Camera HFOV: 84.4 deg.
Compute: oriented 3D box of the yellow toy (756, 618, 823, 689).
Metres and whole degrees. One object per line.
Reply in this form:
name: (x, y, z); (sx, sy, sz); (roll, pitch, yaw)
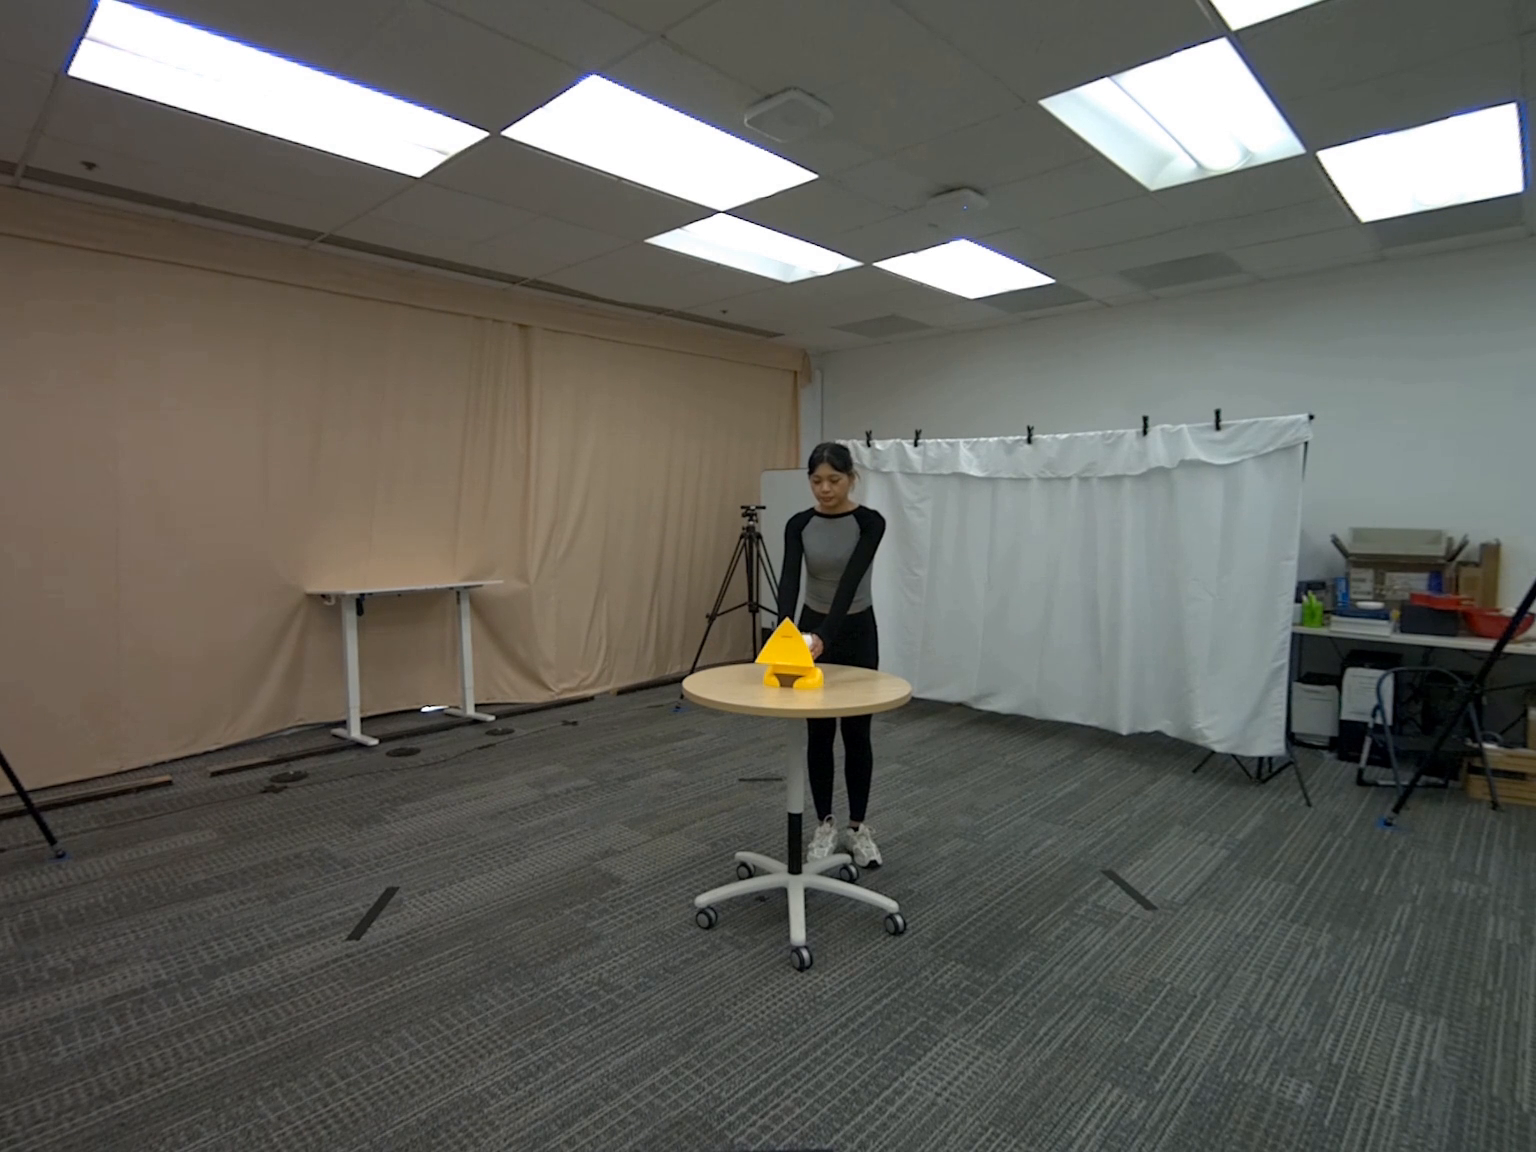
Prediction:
yellow toy: (0.083, 0.250, 2.824); (0.209, 0.230, 0.189); (2, 4, 21)
